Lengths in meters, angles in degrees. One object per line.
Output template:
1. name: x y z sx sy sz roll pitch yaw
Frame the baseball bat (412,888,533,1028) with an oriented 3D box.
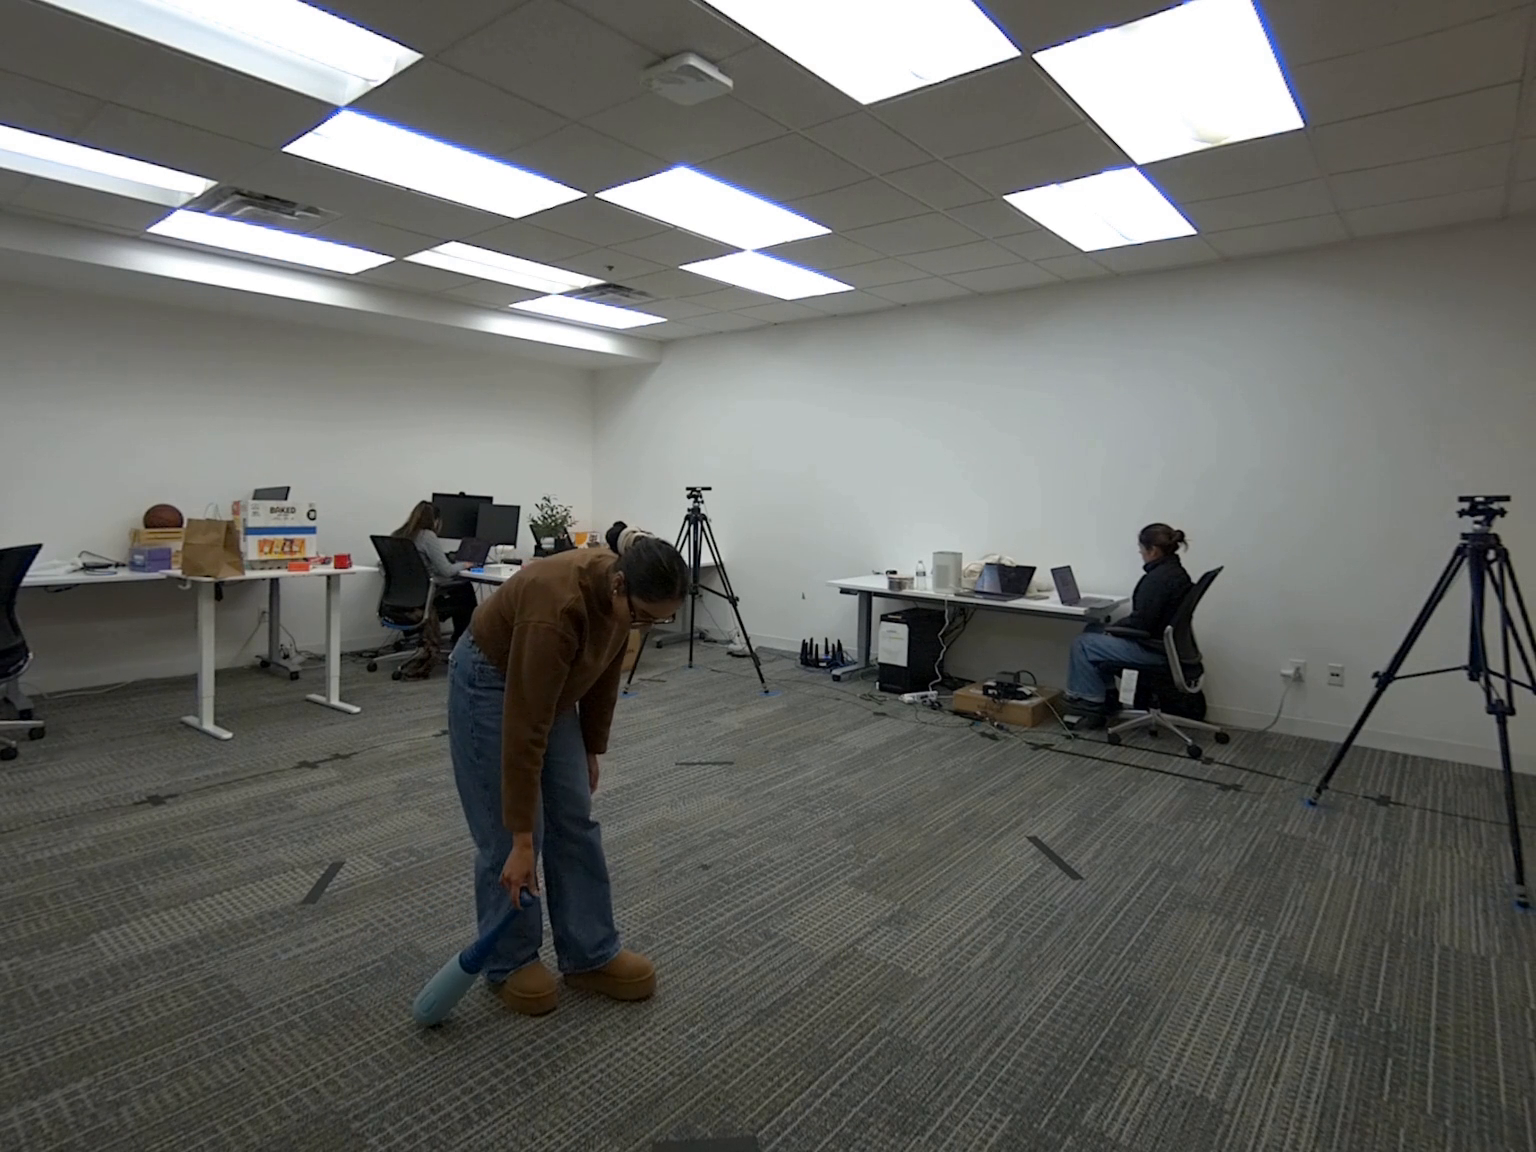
1. baseball bat: -0.733 0.943 2.098 0.087 0.542 0.091 30 26 -19
